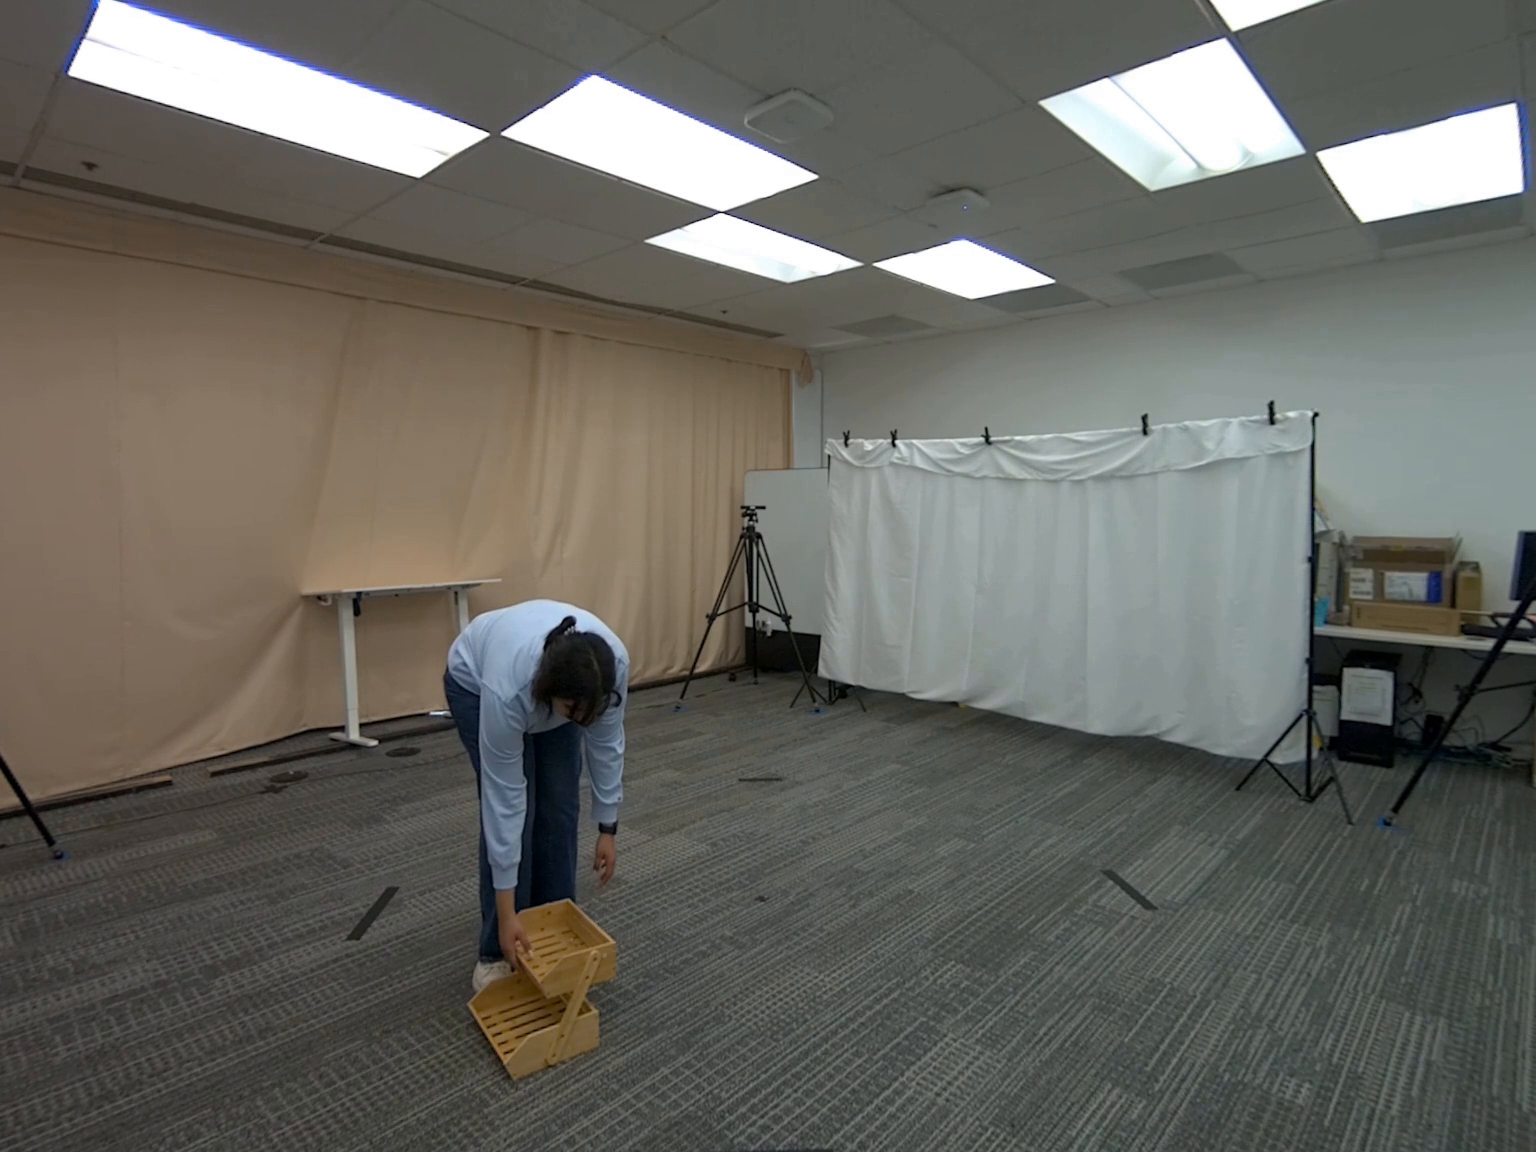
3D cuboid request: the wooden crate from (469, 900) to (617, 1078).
[{"bbox_3d":[-0.607,1.076,2.234,0.293,0.273,0.334,-2,4,-35],"label":"wooden crate"}]
